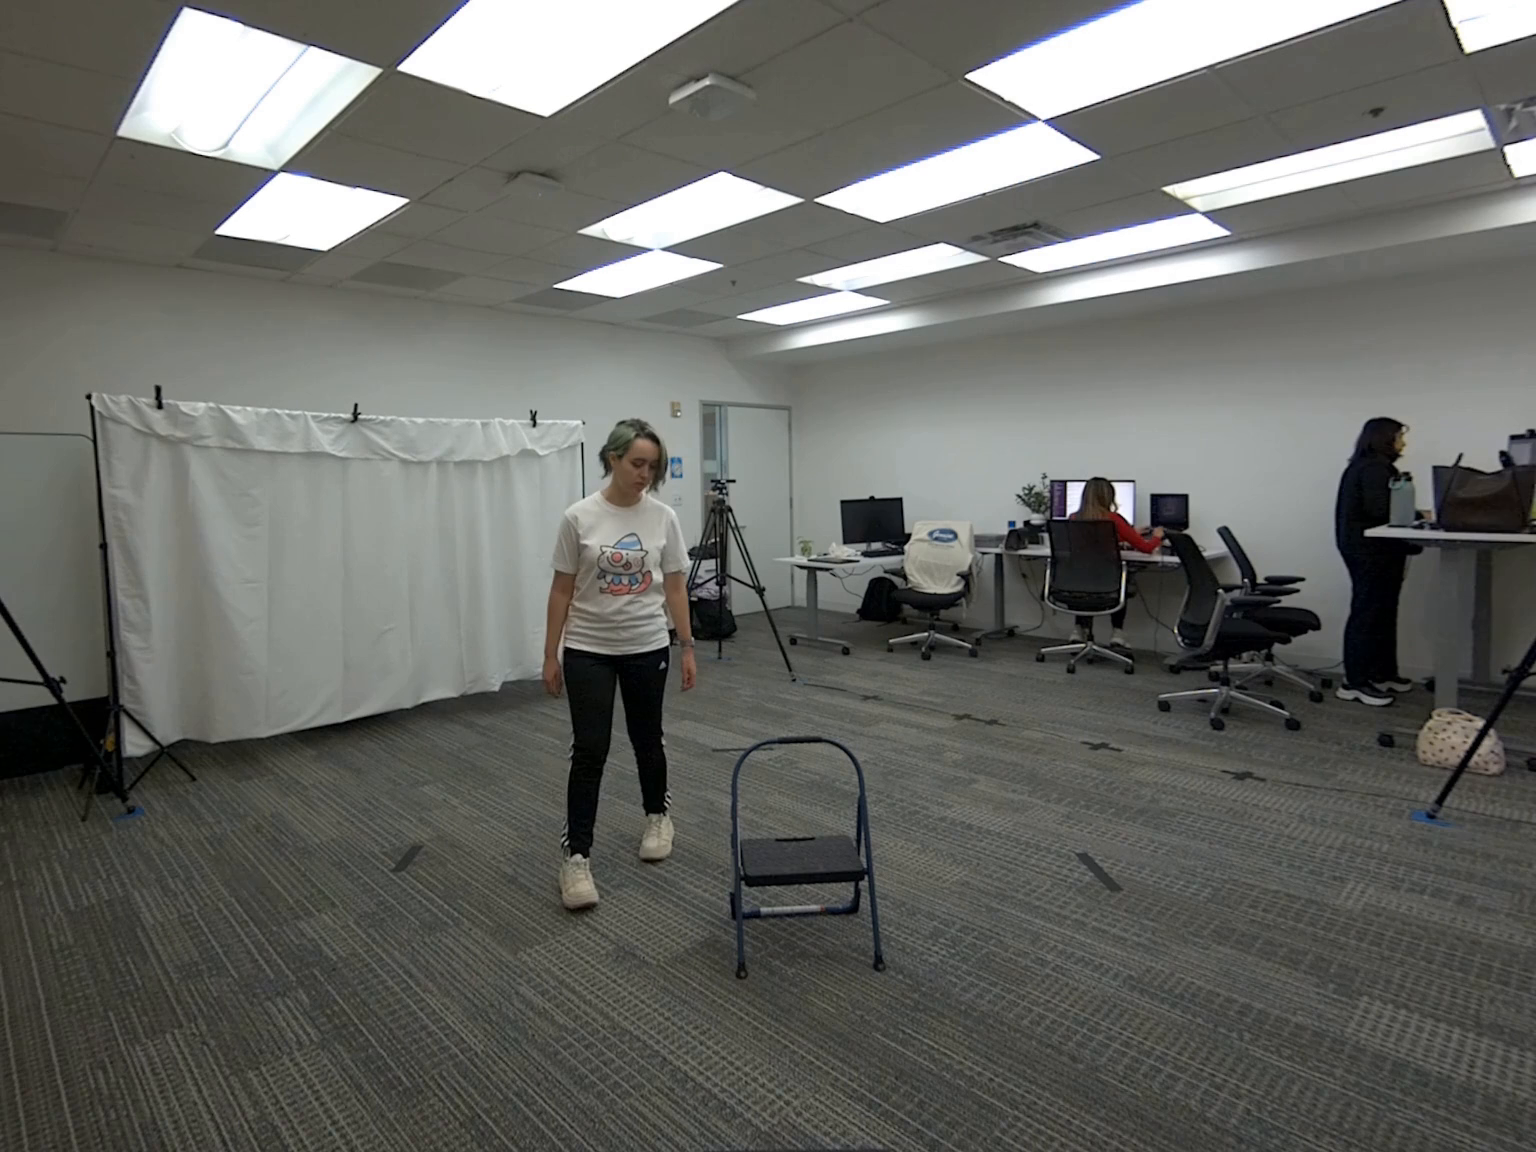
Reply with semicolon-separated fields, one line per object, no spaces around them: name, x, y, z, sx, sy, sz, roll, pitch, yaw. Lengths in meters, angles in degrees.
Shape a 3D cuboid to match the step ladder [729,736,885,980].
step ladder;0.102;0.807;2.563;0.429;0.604;0.352;-1;5;-5
